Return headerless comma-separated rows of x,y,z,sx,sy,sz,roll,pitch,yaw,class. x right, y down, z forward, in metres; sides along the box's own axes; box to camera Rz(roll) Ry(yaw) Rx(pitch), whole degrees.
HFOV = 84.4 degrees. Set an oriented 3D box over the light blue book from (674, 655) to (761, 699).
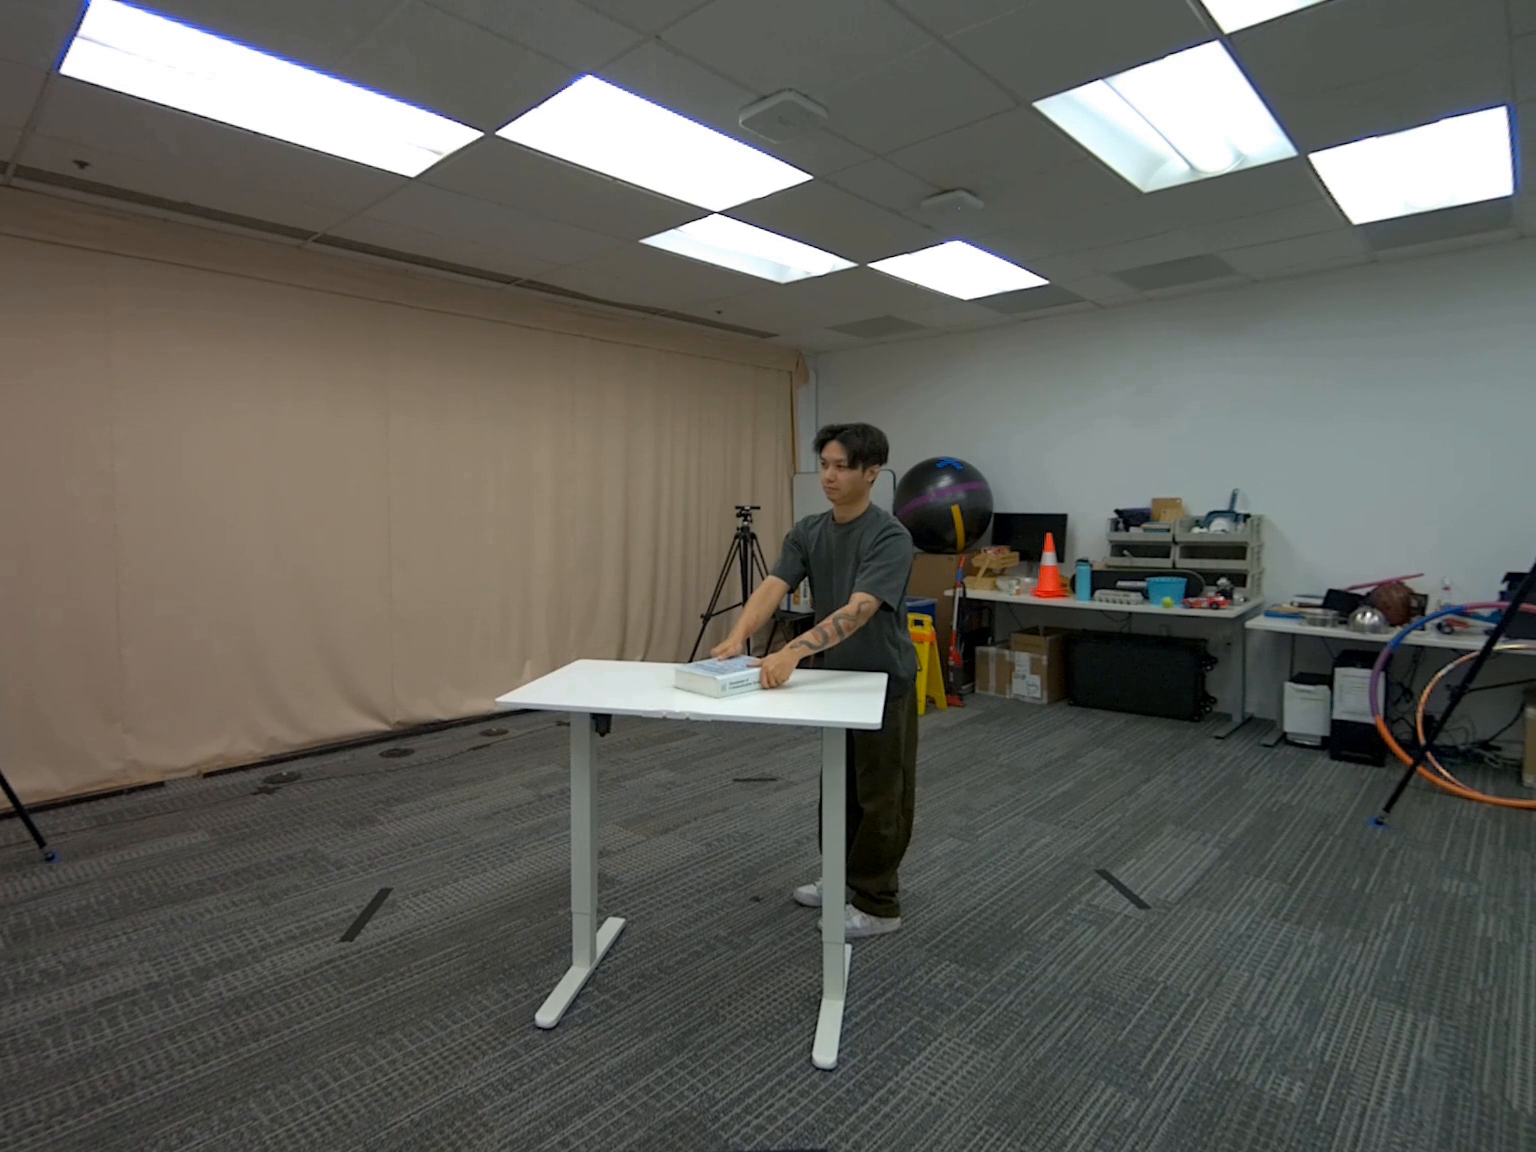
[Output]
-0.113,0.288,2.373,0.253,0.059,0.198,-5,8,-43,light blue book
